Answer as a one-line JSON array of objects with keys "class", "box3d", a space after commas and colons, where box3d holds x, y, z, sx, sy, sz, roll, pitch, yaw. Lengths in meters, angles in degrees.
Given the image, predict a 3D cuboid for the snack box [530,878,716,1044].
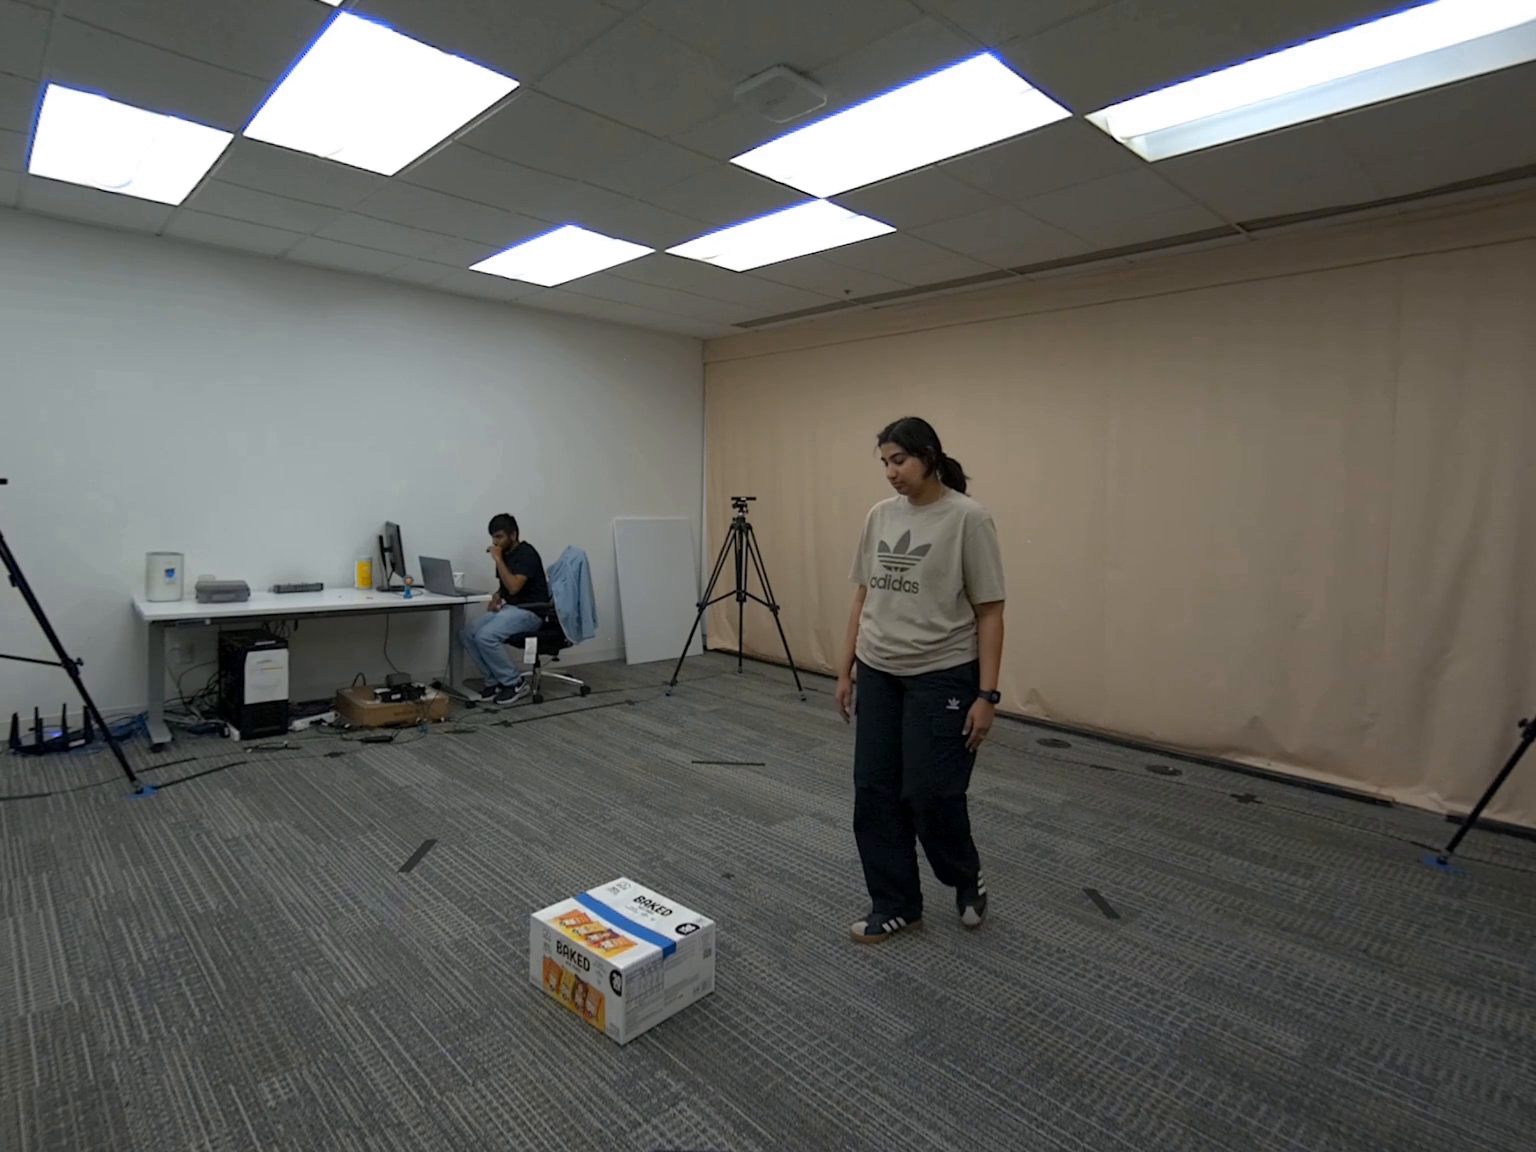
[{"class": "snack box", "box3d": [-0.418, 1.069, 2.368, 0.415, 0.205, 0.333, 5, 6, 41]}]
